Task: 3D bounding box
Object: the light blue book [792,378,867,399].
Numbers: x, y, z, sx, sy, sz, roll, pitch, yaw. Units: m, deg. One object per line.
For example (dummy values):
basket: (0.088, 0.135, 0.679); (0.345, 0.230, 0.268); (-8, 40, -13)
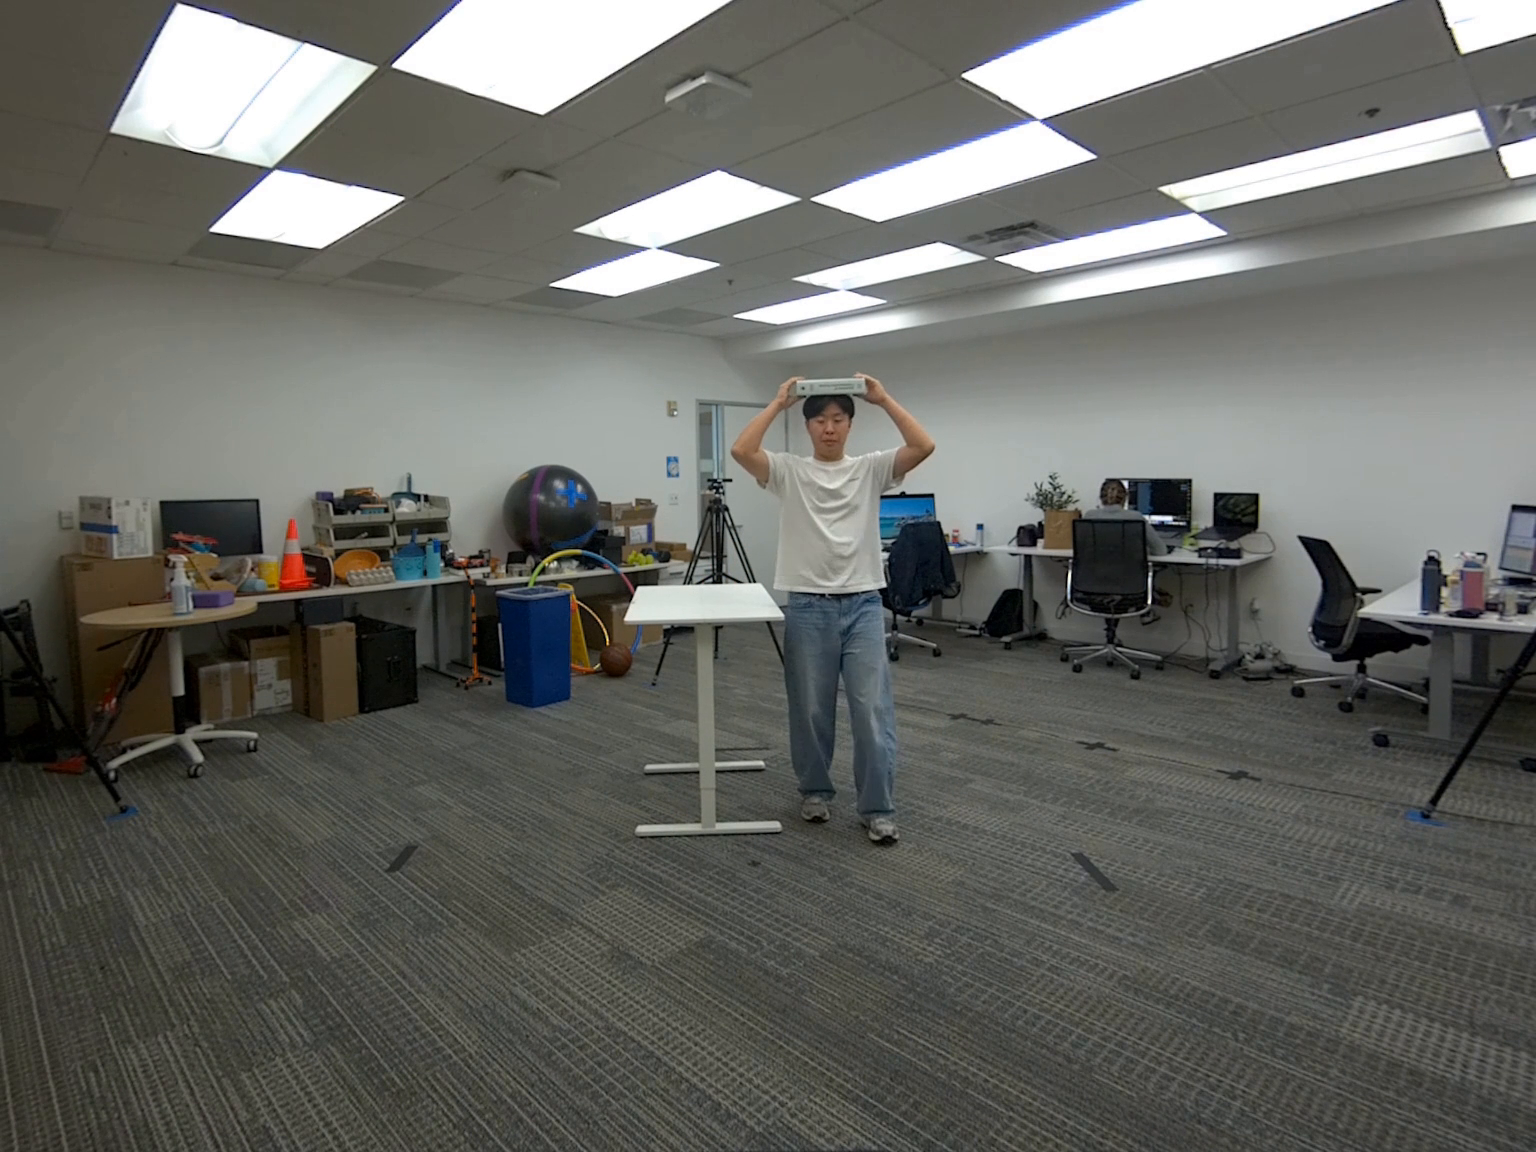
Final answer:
light blue book: (0.261, -0.743, 3.377); (0.262, 0.058, 0.192); (0, 12, 3)
